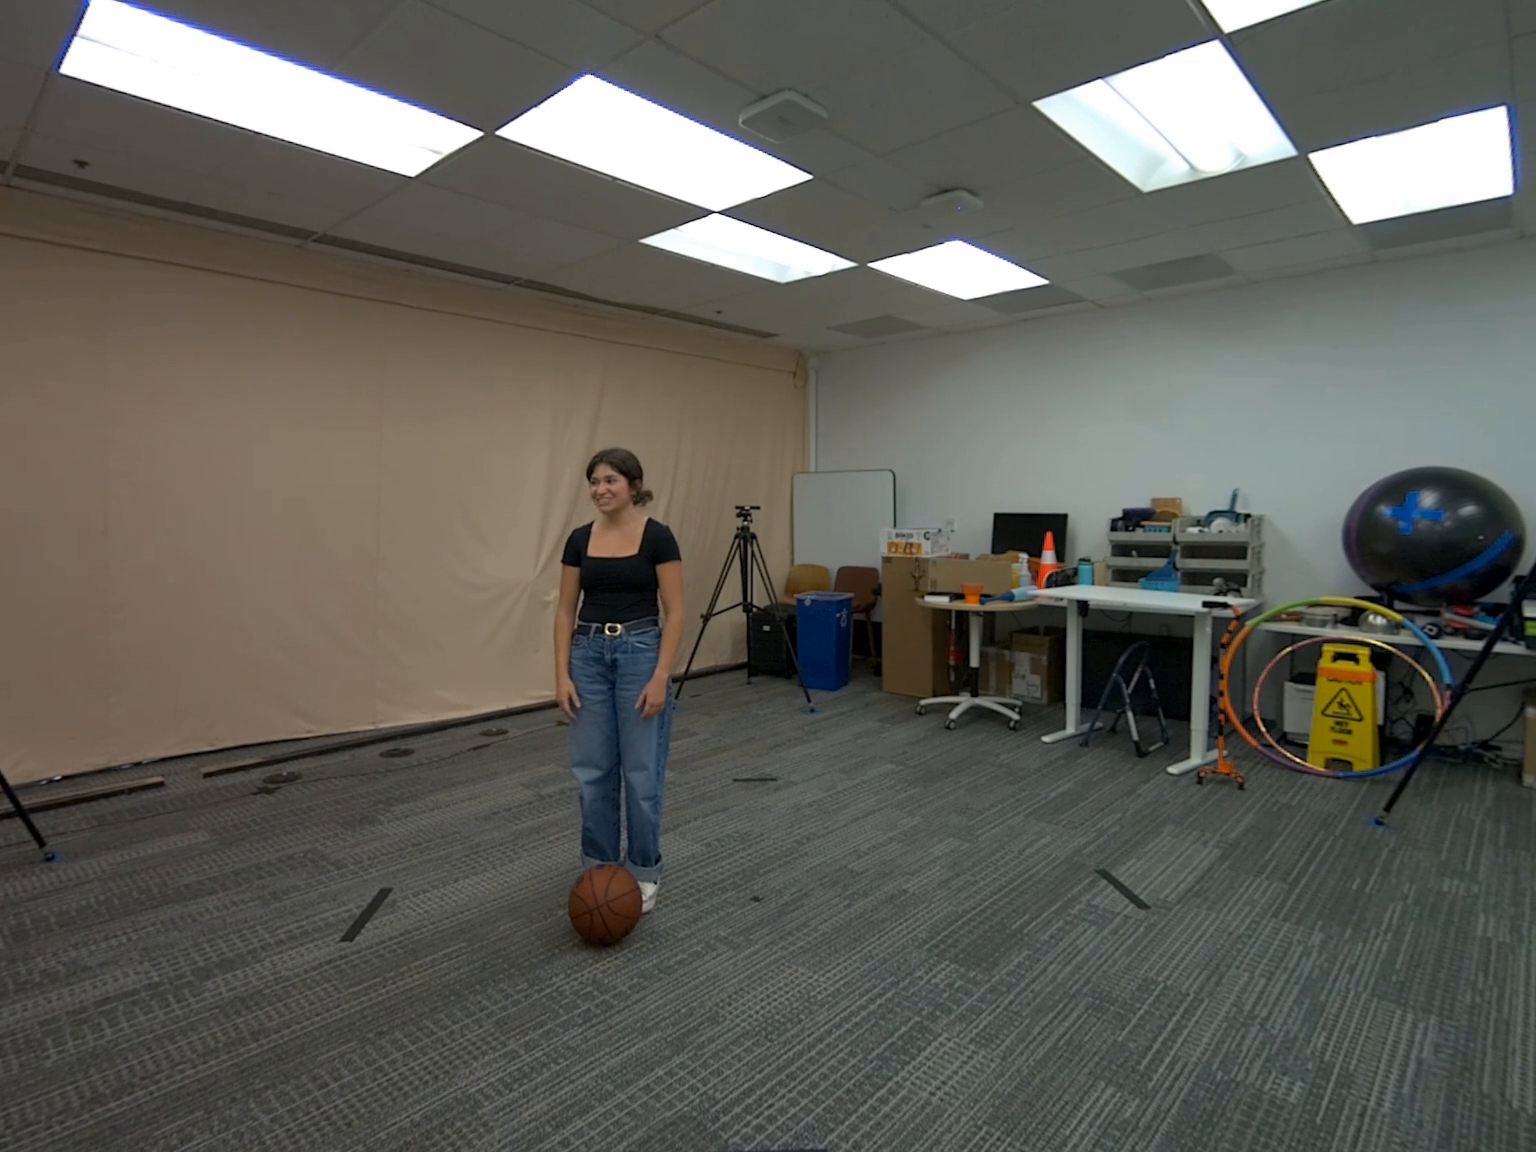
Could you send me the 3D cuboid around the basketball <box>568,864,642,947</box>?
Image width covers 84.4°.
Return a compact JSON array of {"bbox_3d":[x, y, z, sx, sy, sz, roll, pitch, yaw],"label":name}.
[{"bbox_3d":[-0.524,1.044,2.707,0.236,0.235,0.237,0,4,-2],"label":"basketball"}]
